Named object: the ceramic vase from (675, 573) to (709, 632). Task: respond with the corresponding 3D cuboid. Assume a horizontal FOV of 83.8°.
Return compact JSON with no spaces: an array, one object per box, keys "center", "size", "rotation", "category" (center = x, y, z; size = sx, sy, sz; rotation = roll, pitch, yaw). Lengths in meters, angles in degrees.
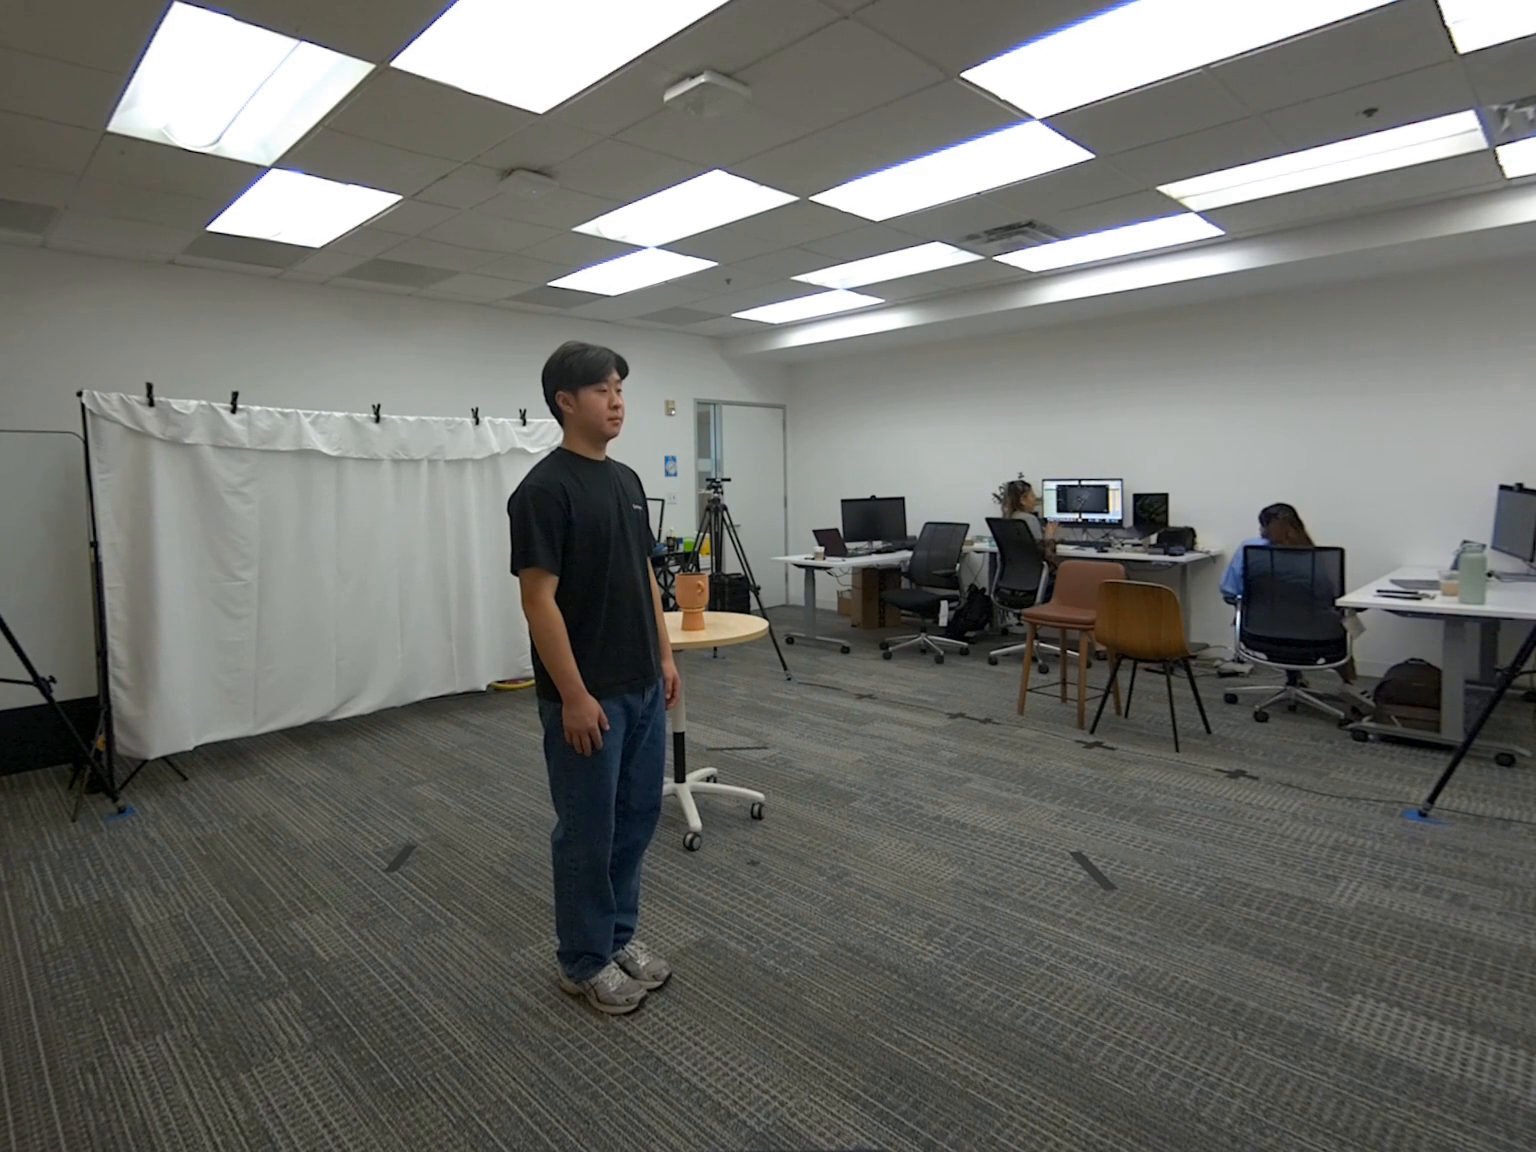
[{"center":[-0.306,0.105,3.431],"size":[0.136,0.219,0.158],"rotation":[-2,4,9],"category":"ceramic vase"}]
